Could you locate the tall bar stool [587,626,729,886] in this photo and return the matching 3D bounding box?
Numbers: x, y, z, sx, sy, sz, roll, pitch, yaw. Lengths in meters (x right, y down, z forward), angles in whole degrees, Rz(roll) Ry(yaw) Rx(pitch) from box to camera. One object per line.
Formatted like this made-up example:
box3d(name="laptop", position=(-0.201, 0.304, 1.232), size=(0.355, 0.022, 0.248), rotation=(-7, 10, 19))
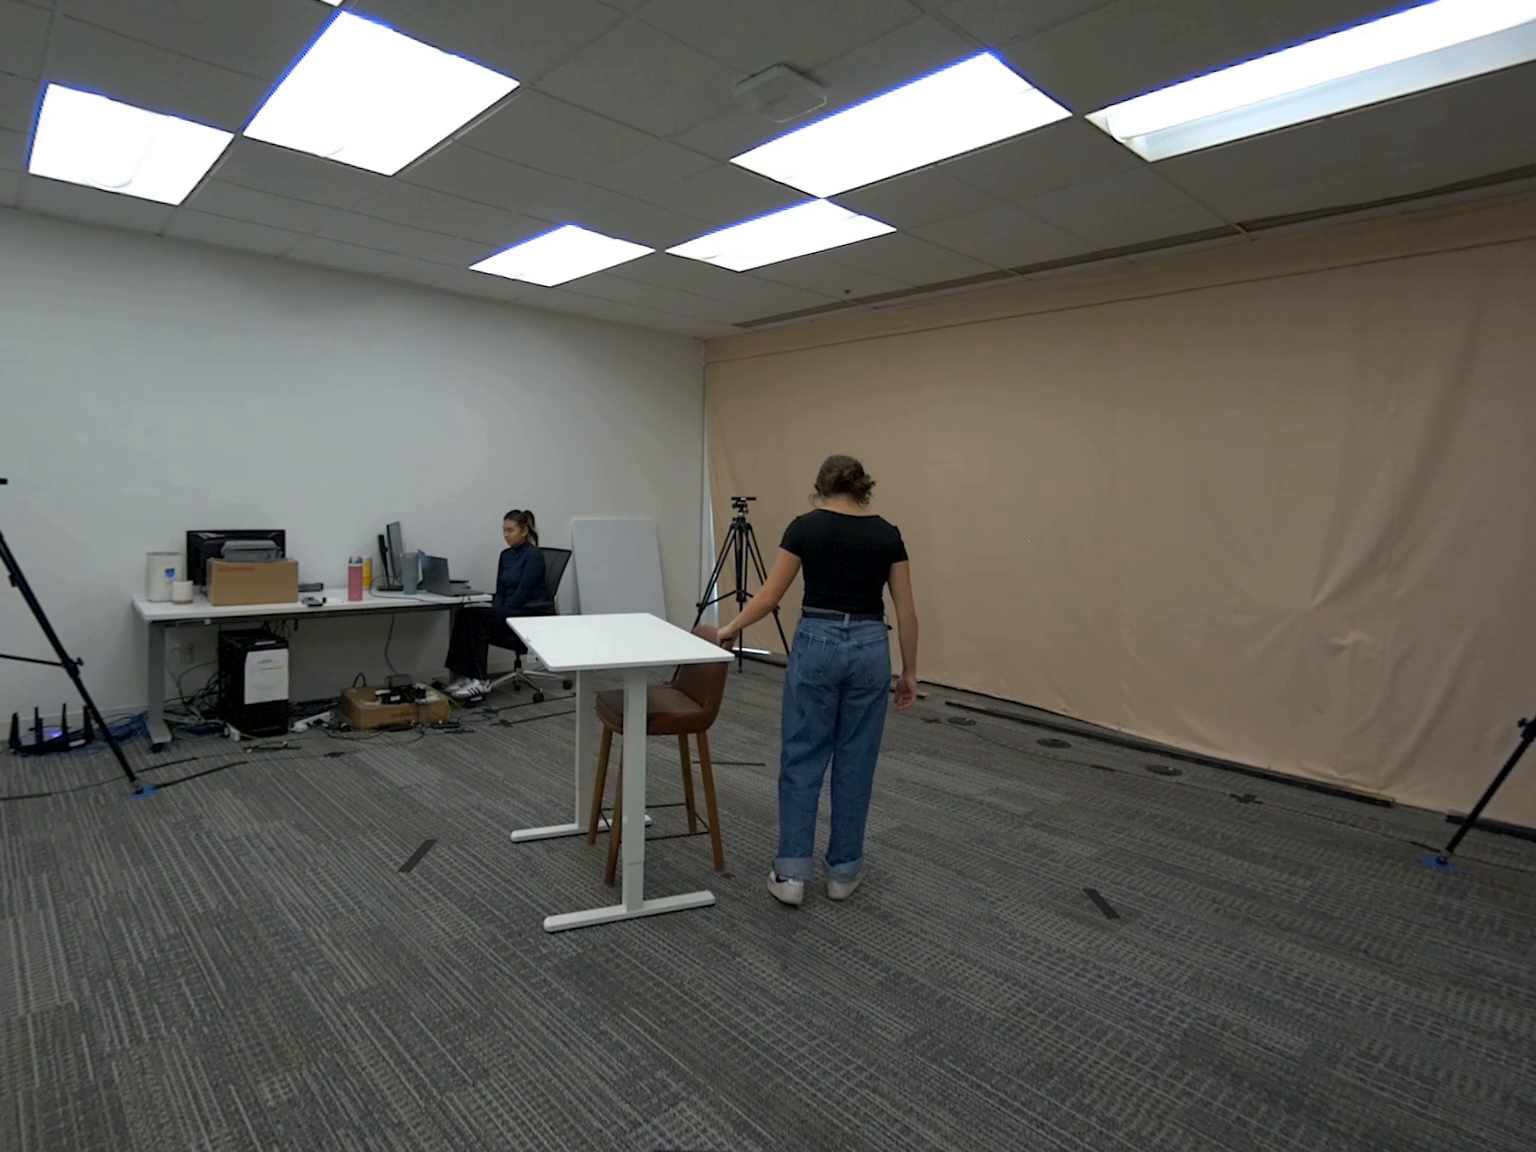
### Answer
box3d(name="tall bar stool", position=(-0.426, 0.660, 3.239), size=(0.460, 0.888, 0.464), rotation=(2, 3, -20))
